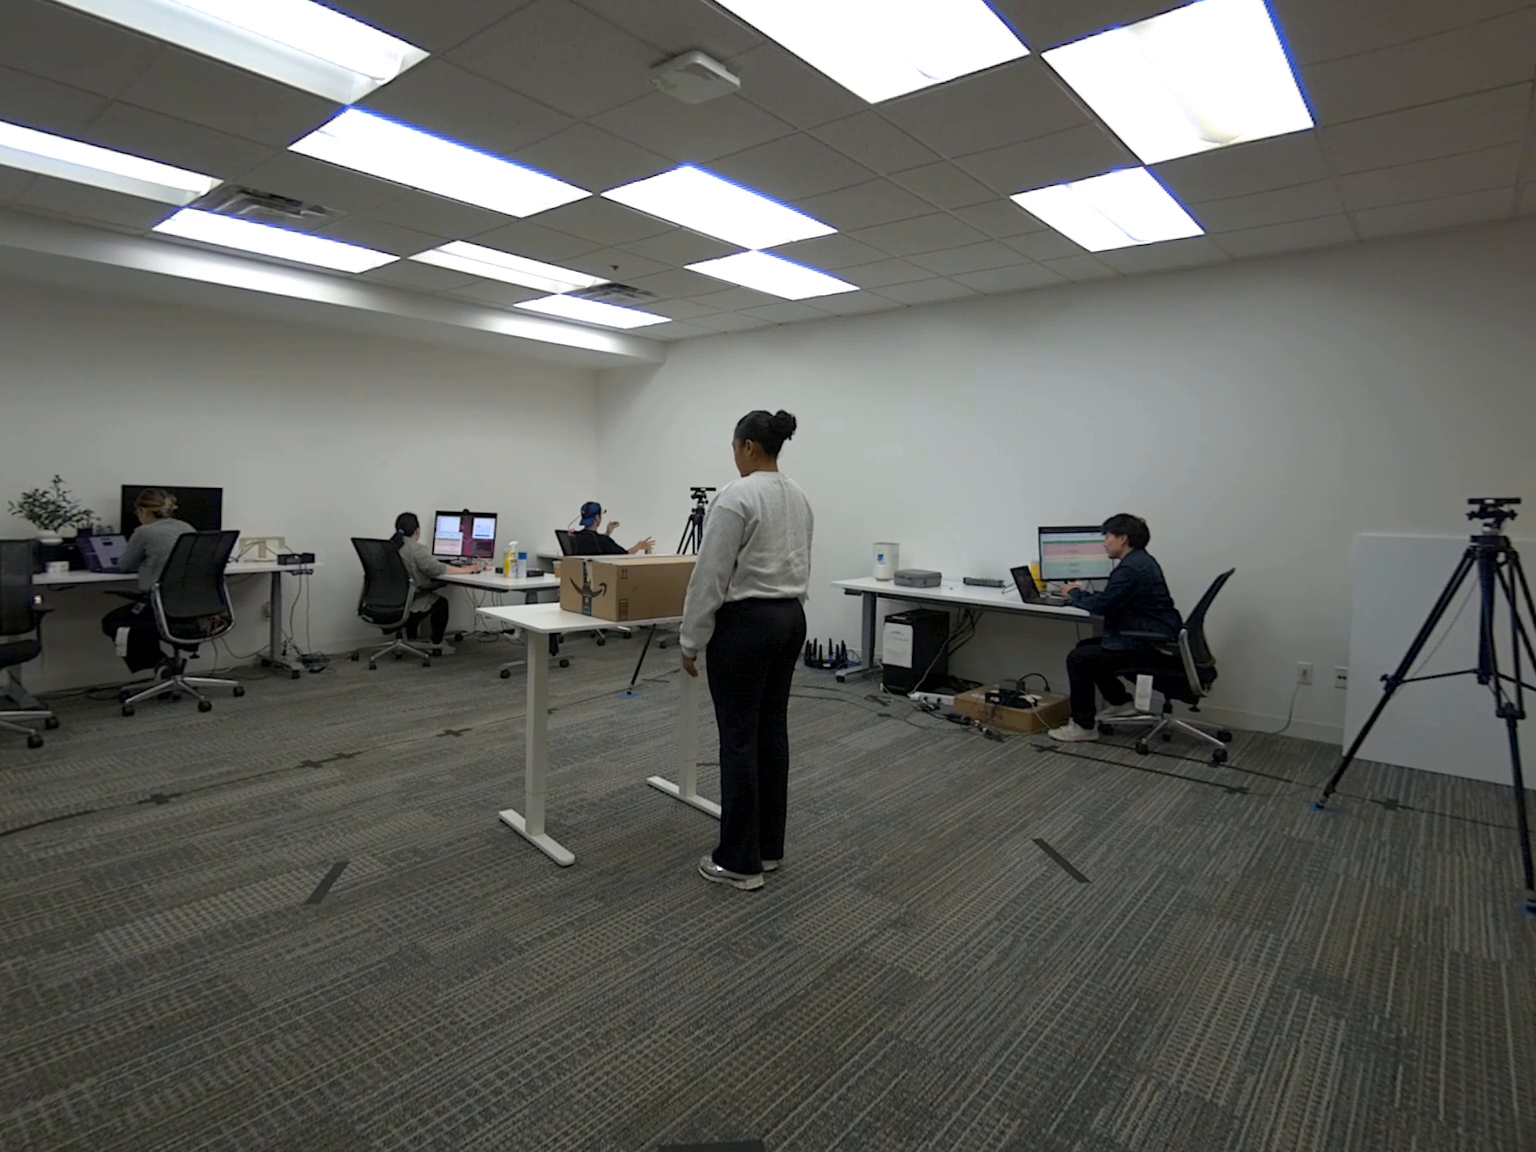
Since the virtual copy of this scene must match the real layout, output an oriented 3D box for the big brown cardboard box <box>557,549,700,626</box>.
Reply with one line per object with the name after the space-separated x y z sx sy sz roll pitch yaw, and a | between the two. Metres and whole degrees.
-0.510 0.031 3.500 0.571 0.232 0.432 -4 7 -43 | big brown cardboard box
